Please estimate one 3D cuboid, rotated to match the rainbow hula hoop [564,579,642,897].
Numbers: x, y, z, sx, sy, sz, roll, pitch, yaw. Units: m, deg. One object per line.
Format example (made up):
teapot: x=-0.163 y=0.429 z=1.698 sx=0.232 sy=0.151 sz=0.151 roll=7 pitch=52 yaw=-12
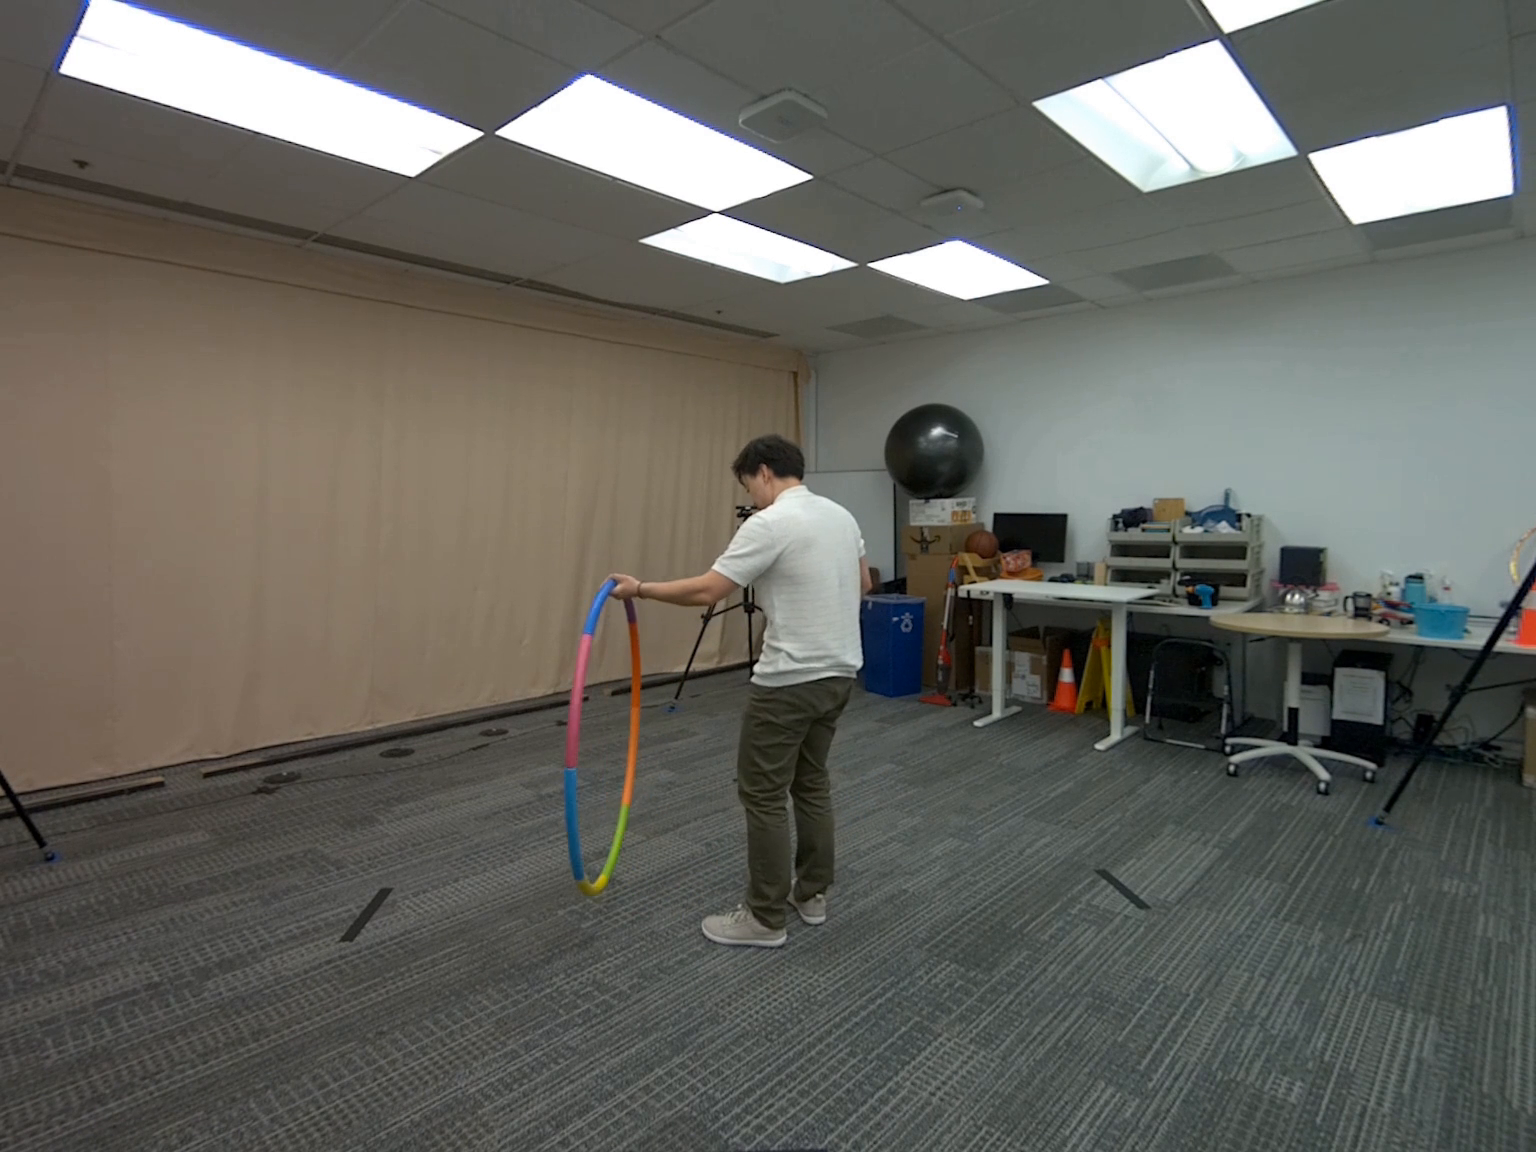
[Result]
rainbow hula hoop: x=-0.513 y=0.510 z=2.726 sx=0.036 sy=0.976 sz=0.976 roll=3 pitch=4 yaw=2
